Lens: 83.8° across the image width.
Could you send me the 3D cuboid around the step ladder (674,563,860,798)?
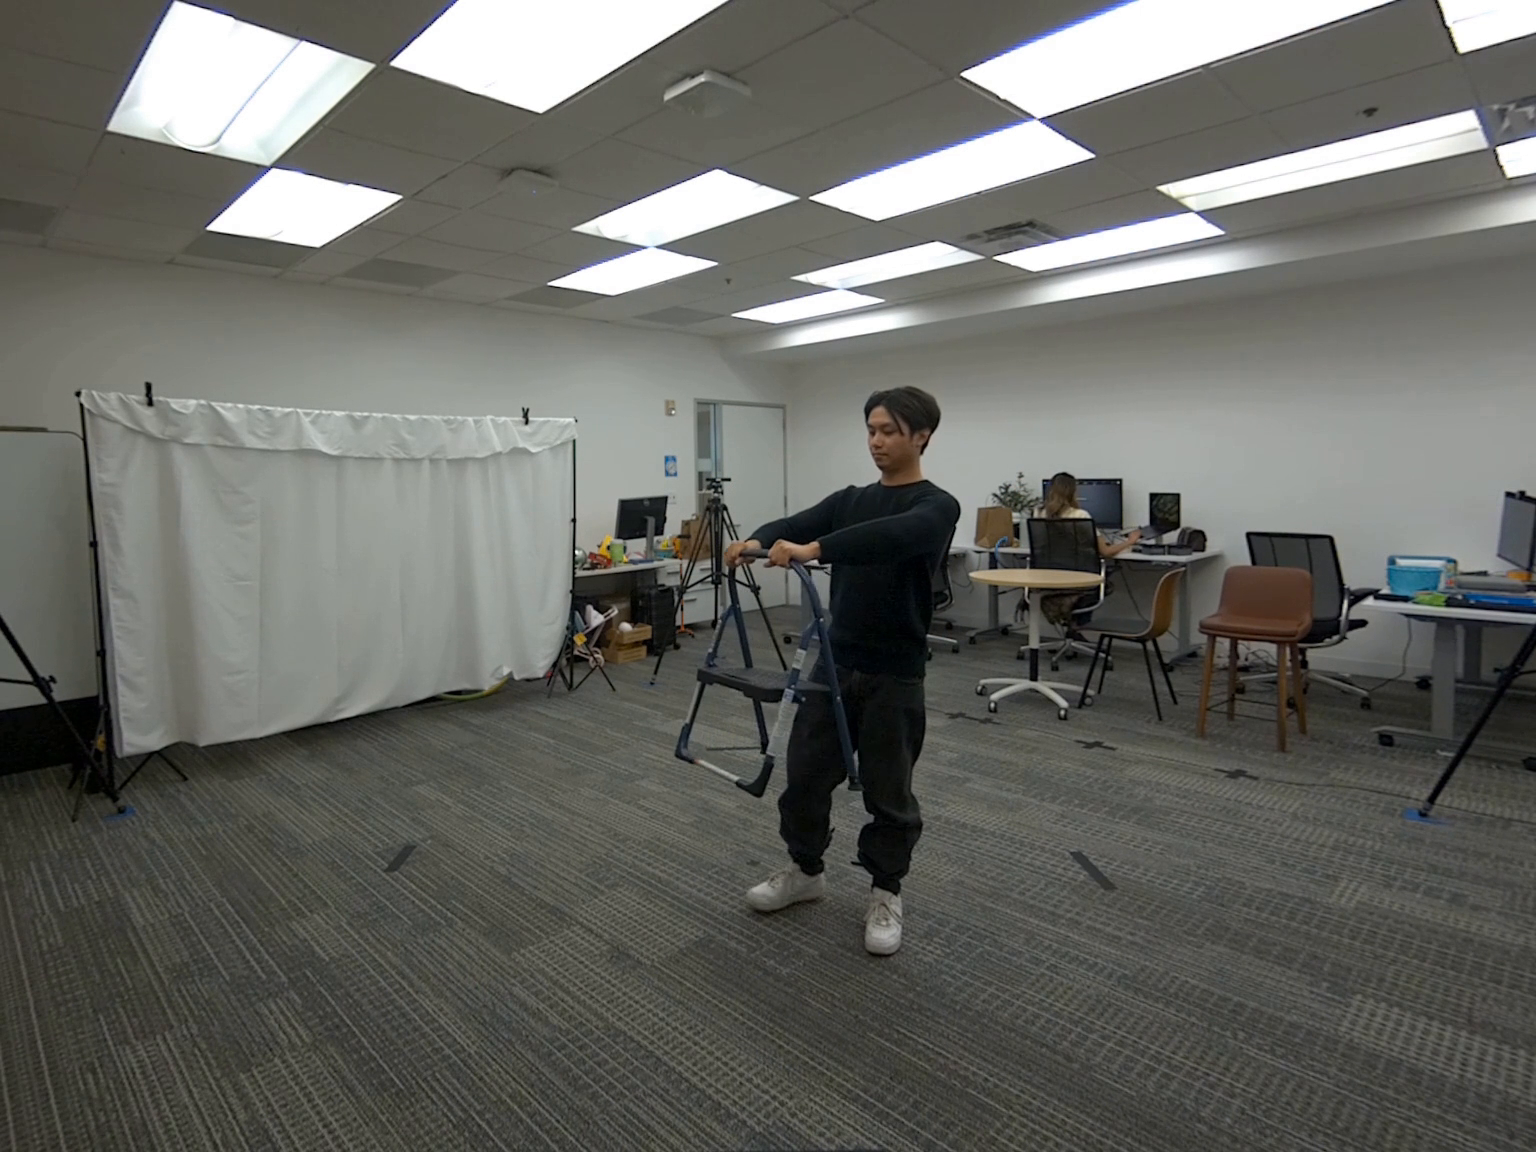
[{"bbox_3d":[0.024,0.239,2.351,0.339,0.607,0.443,6,-1,-34],"label":"step ladder"}]
